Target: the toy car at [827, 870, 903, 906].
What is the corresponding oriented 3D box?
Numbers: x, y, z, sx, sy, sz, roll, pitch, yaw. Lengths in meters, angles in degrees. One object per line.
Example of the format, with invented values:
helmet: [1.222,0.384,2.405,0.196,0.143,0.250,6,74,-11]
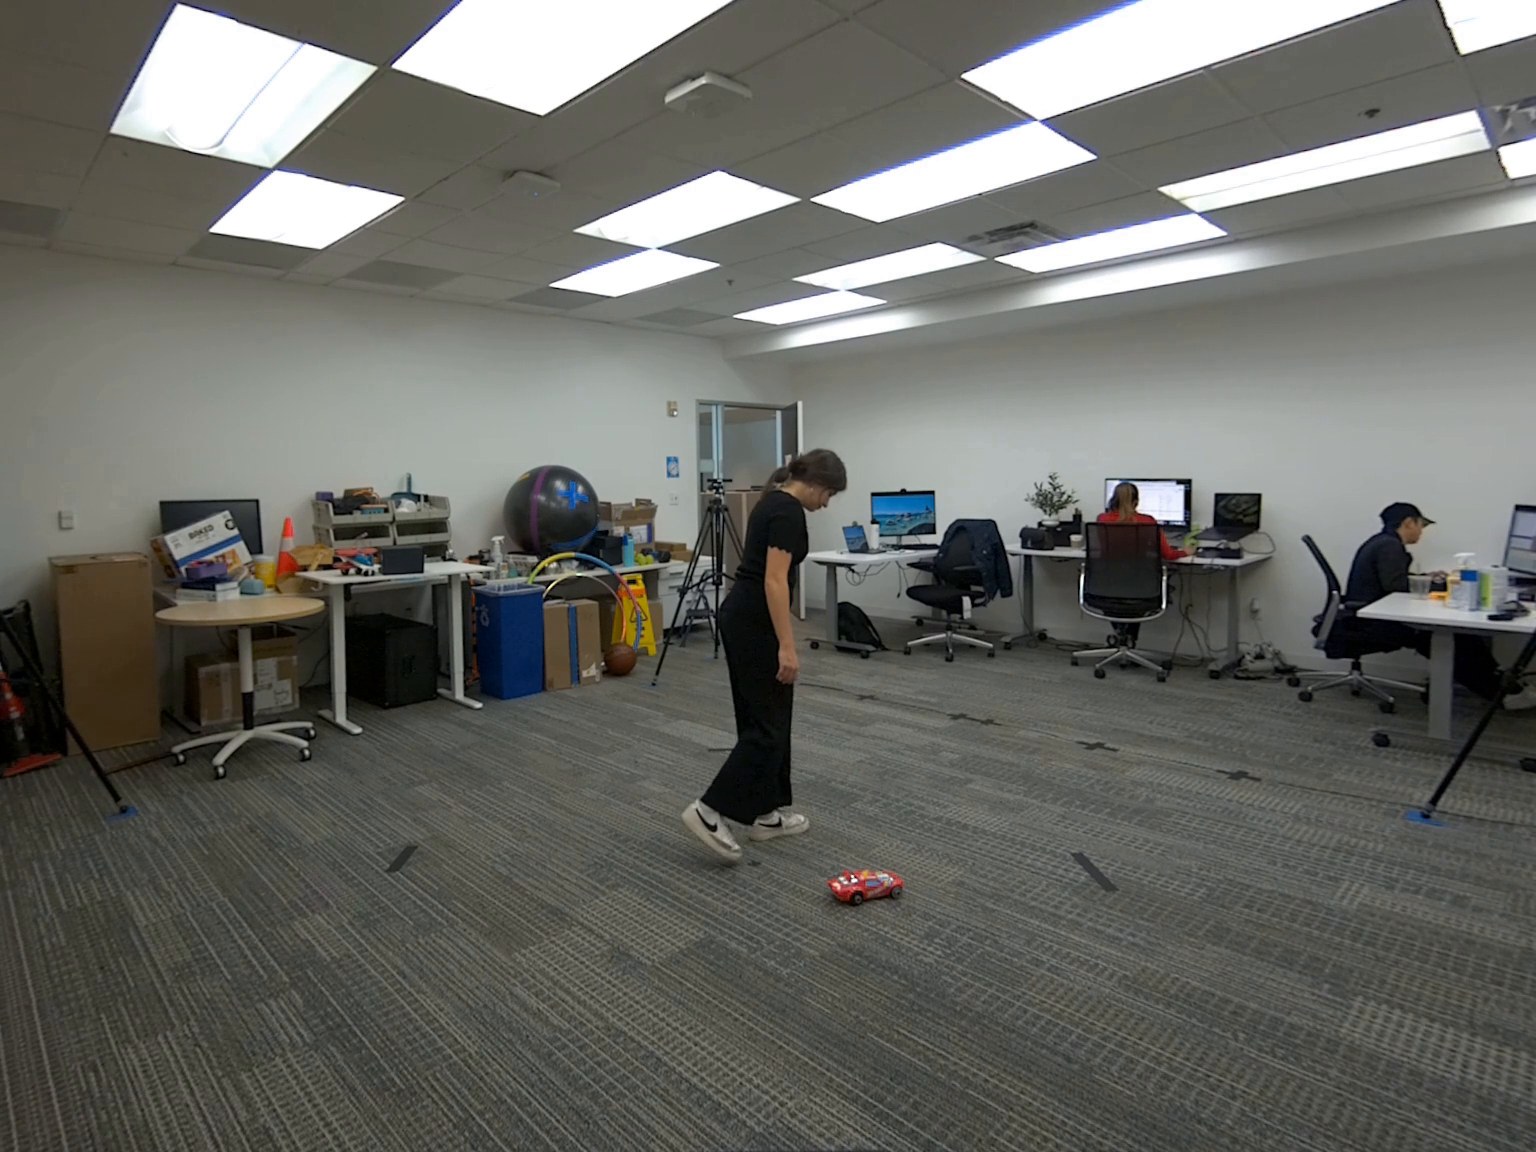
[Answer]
toy car: [0.323,1.037,2.846,0.250,0.083,0.133,8,2,-18]
